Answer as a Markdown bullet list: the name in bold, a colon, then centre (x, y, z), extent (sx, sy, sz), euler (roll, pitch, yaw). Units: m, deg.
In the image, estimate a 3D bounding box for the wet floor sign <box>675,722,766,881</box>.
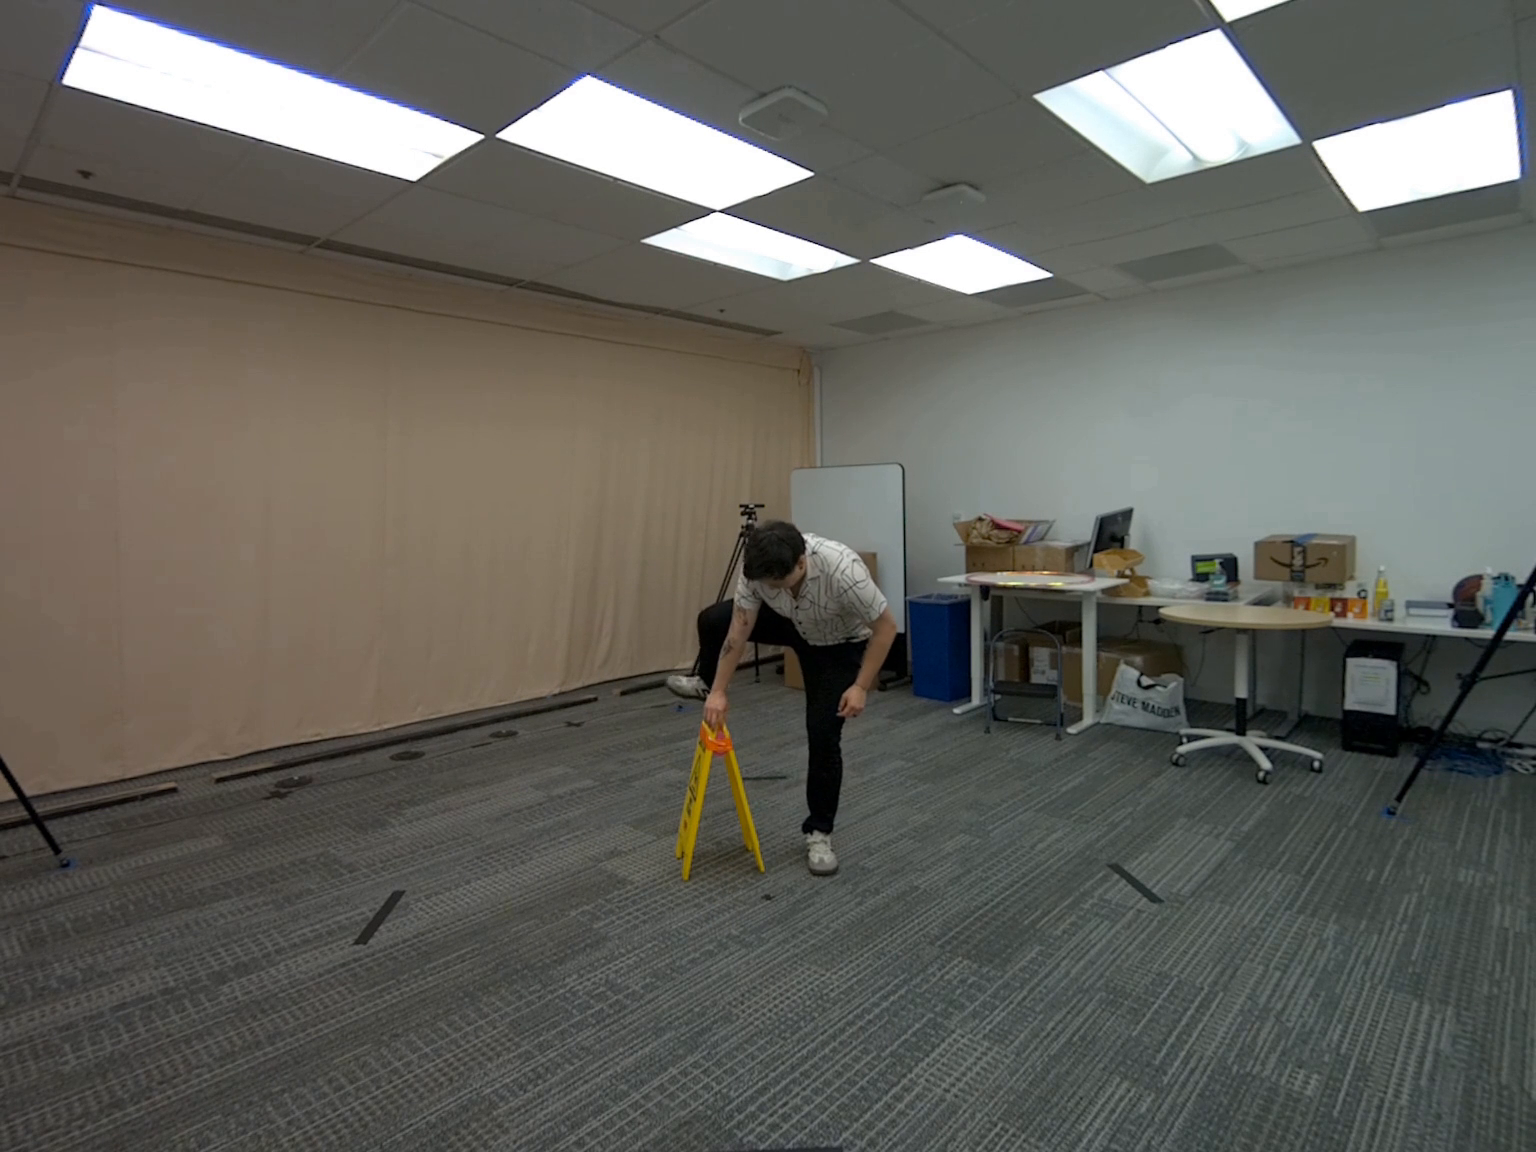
- **wet floor sign**: centre (-0.196, 0.794, 3.269), extent (0.286, 0.645, 0.286), euler (-2, 3, -12)
